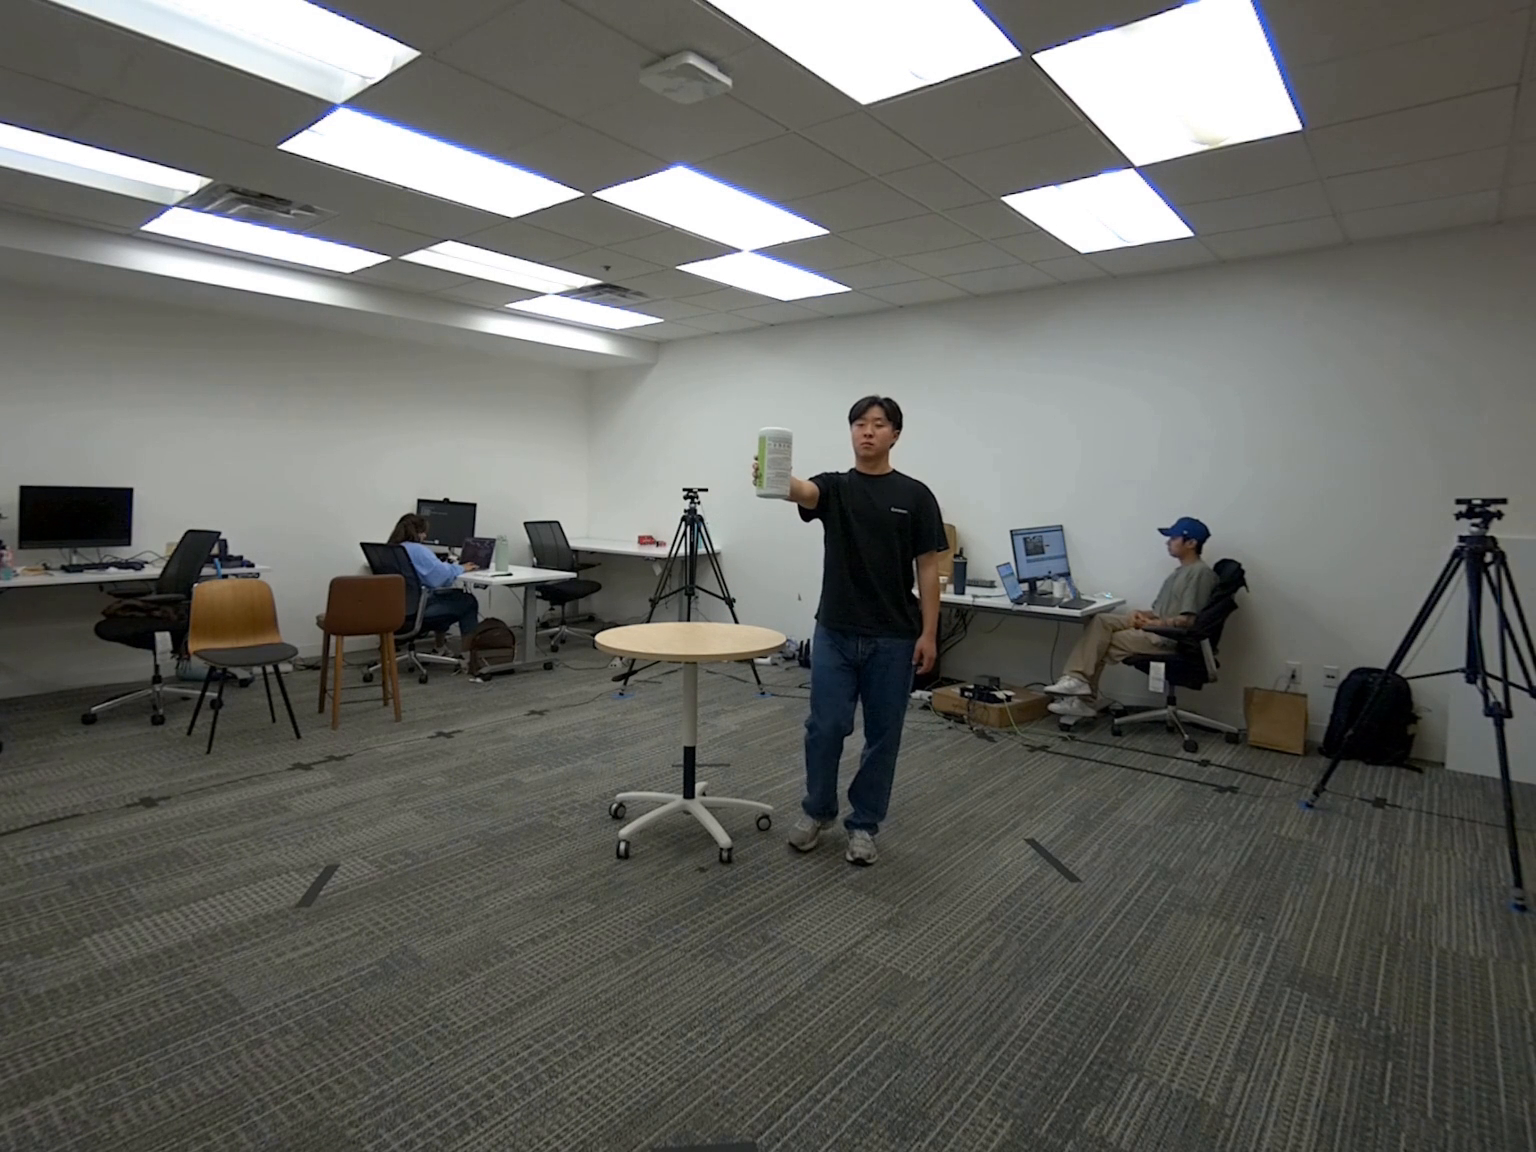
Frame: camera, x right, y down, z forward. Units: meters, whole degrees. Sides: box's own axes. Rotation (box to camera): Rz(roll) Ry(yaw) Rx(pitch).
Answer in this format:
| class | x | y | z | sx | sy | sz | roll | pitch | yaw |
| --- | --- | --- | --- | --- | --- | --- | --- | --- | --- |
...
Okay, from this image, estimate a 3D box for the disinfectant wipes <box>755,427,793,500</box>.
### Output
| class | x | y | z | sx | sy | sz | roll | pitch | yaw |
| --- | --- | --- | --- | --- | --- | --- | --- | --- | --- |
| disinfectant wipes | 0.007 | -0.356 | 2.706 | 0.118 | 0.218 | 0.118 | 2 | -1 | -2 |
